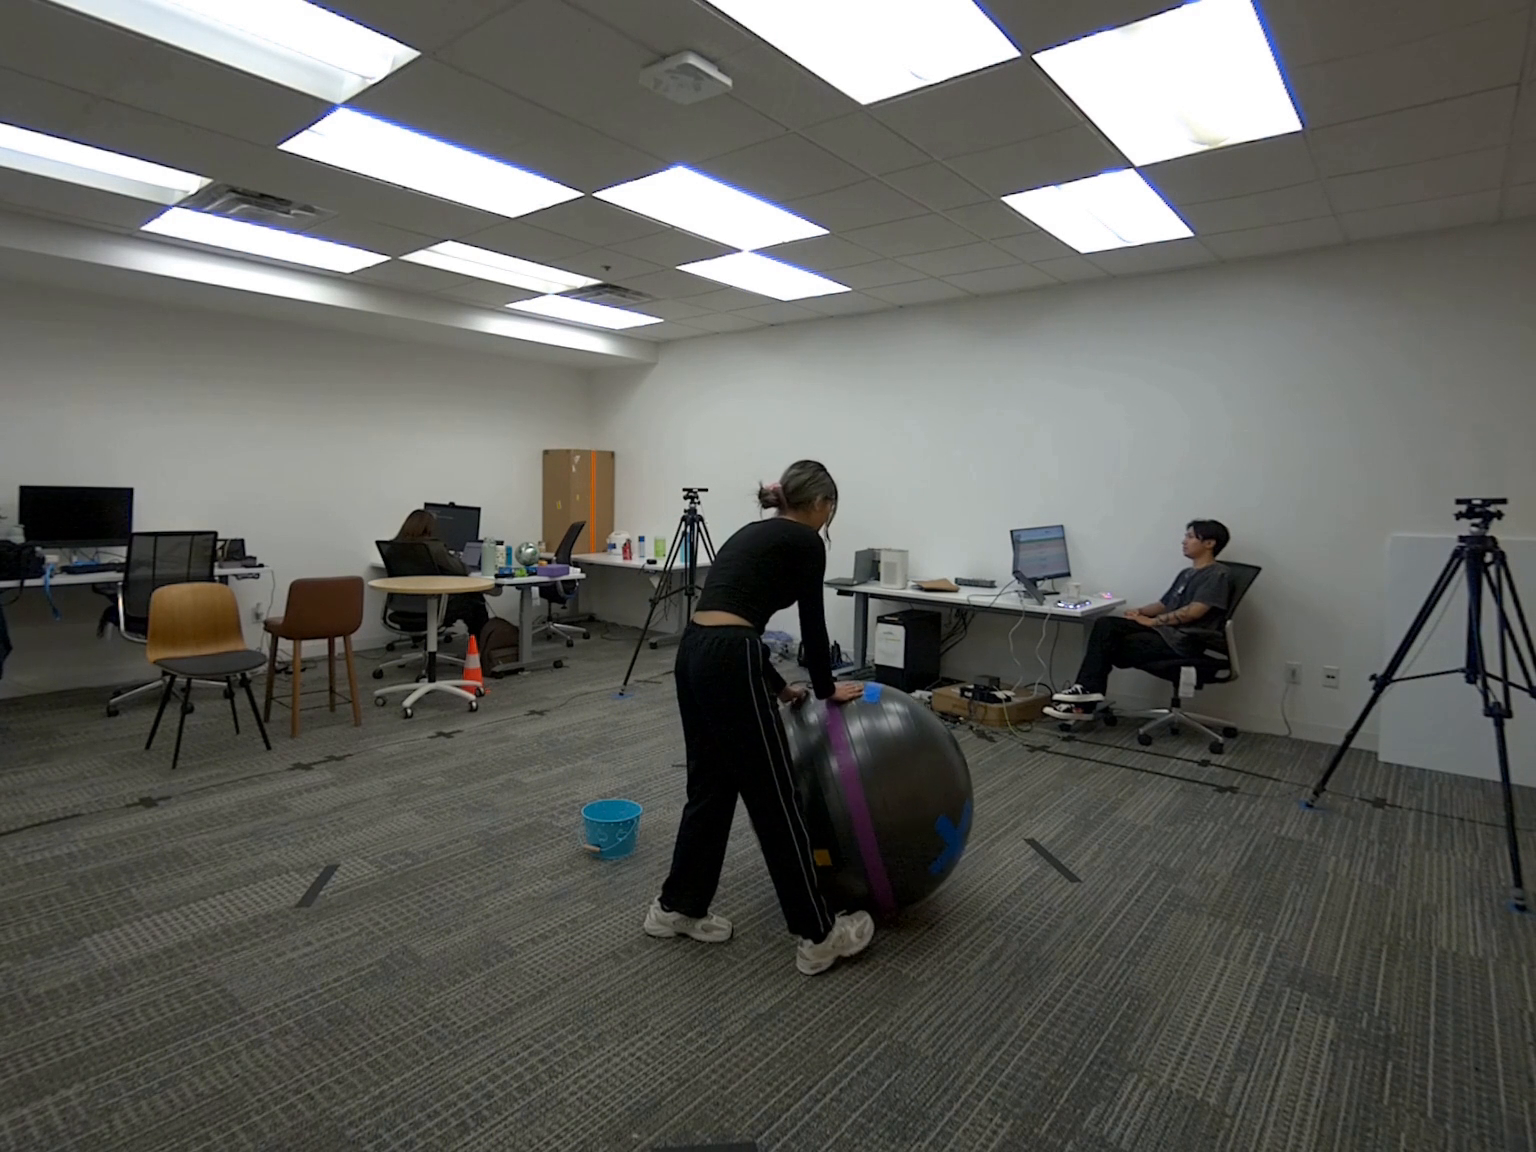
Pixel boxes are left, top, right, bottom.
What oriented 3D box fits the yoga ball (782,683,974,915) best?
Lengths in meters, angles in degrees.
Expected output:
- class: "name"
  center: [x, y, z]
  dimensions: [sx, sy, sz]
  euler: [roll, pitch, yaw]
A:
- class: "yoga ball"
  center: [0.307, 0.737, 2.896]
  dimensions: [0.757, 0.755, 0.762]
  euler: [1, 4, -2]
